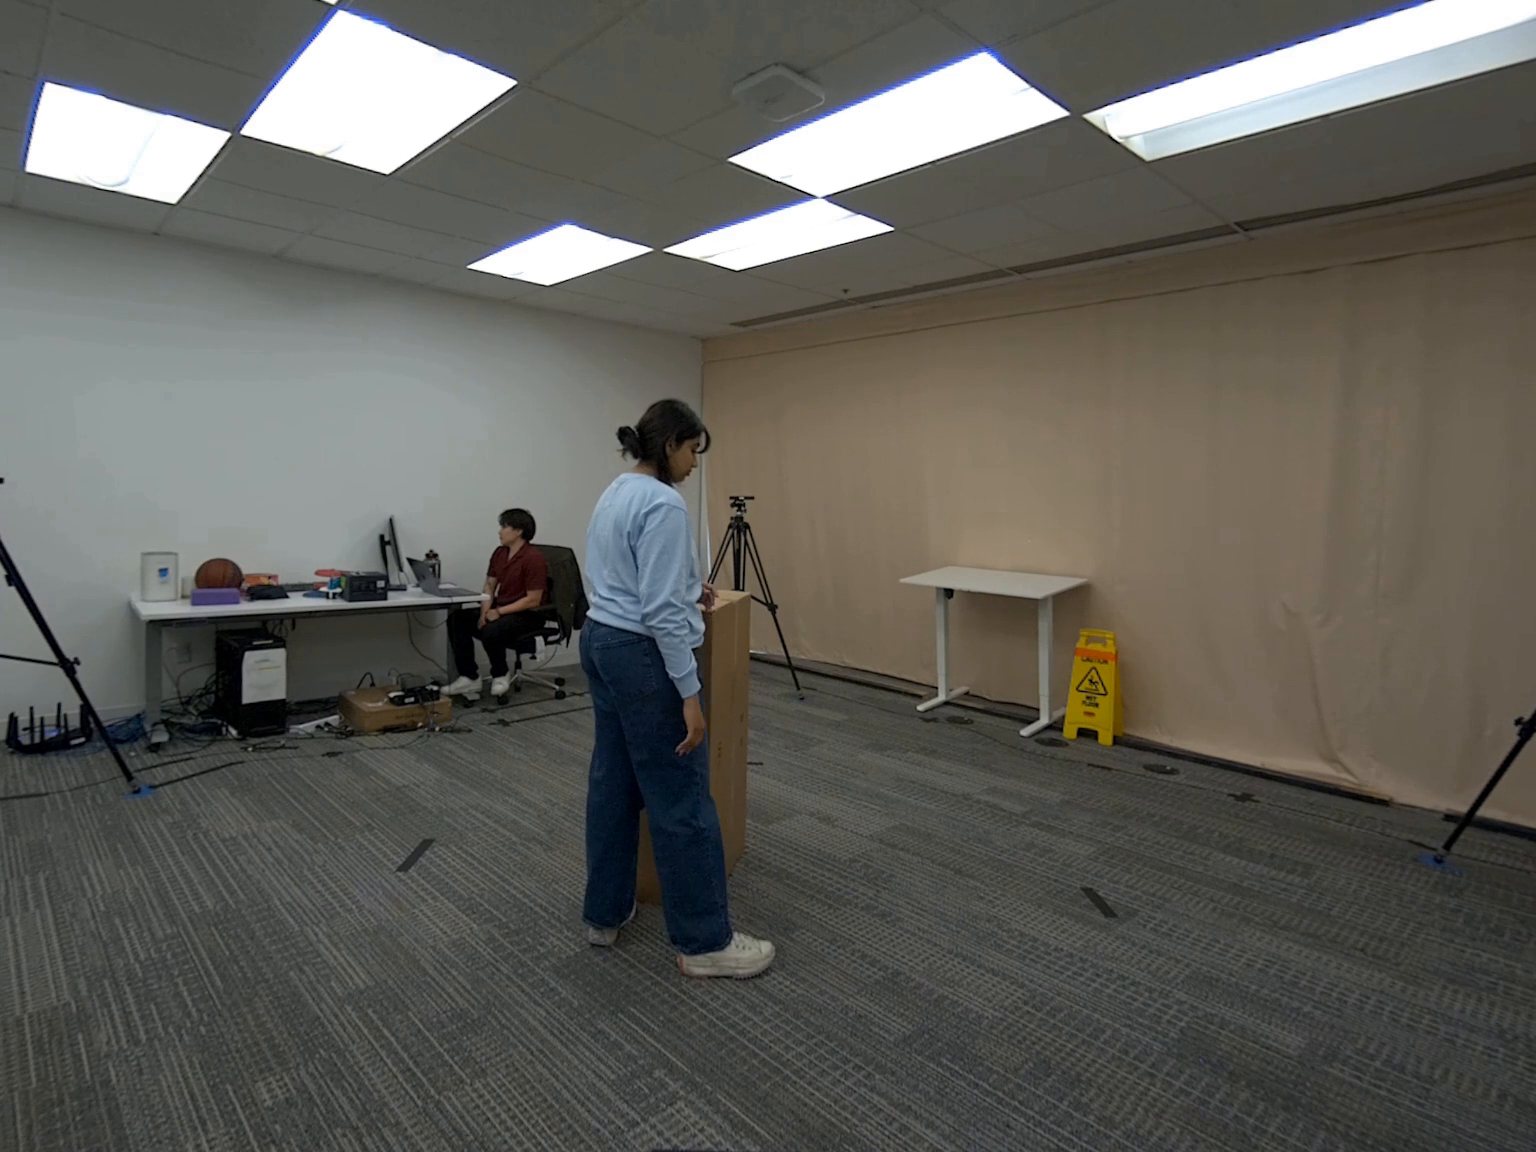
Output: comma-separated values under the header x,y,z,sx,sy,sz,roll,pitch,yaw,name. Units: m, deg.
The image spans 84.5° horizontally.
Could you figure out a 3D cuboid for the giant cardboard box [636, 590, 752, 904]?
x,y,z,sx,sy,sz,roll,pitch,yaw,name
-0.341,0.591,3.130,0.431,1.023,0.573,2,4,12,giant cardboard box
